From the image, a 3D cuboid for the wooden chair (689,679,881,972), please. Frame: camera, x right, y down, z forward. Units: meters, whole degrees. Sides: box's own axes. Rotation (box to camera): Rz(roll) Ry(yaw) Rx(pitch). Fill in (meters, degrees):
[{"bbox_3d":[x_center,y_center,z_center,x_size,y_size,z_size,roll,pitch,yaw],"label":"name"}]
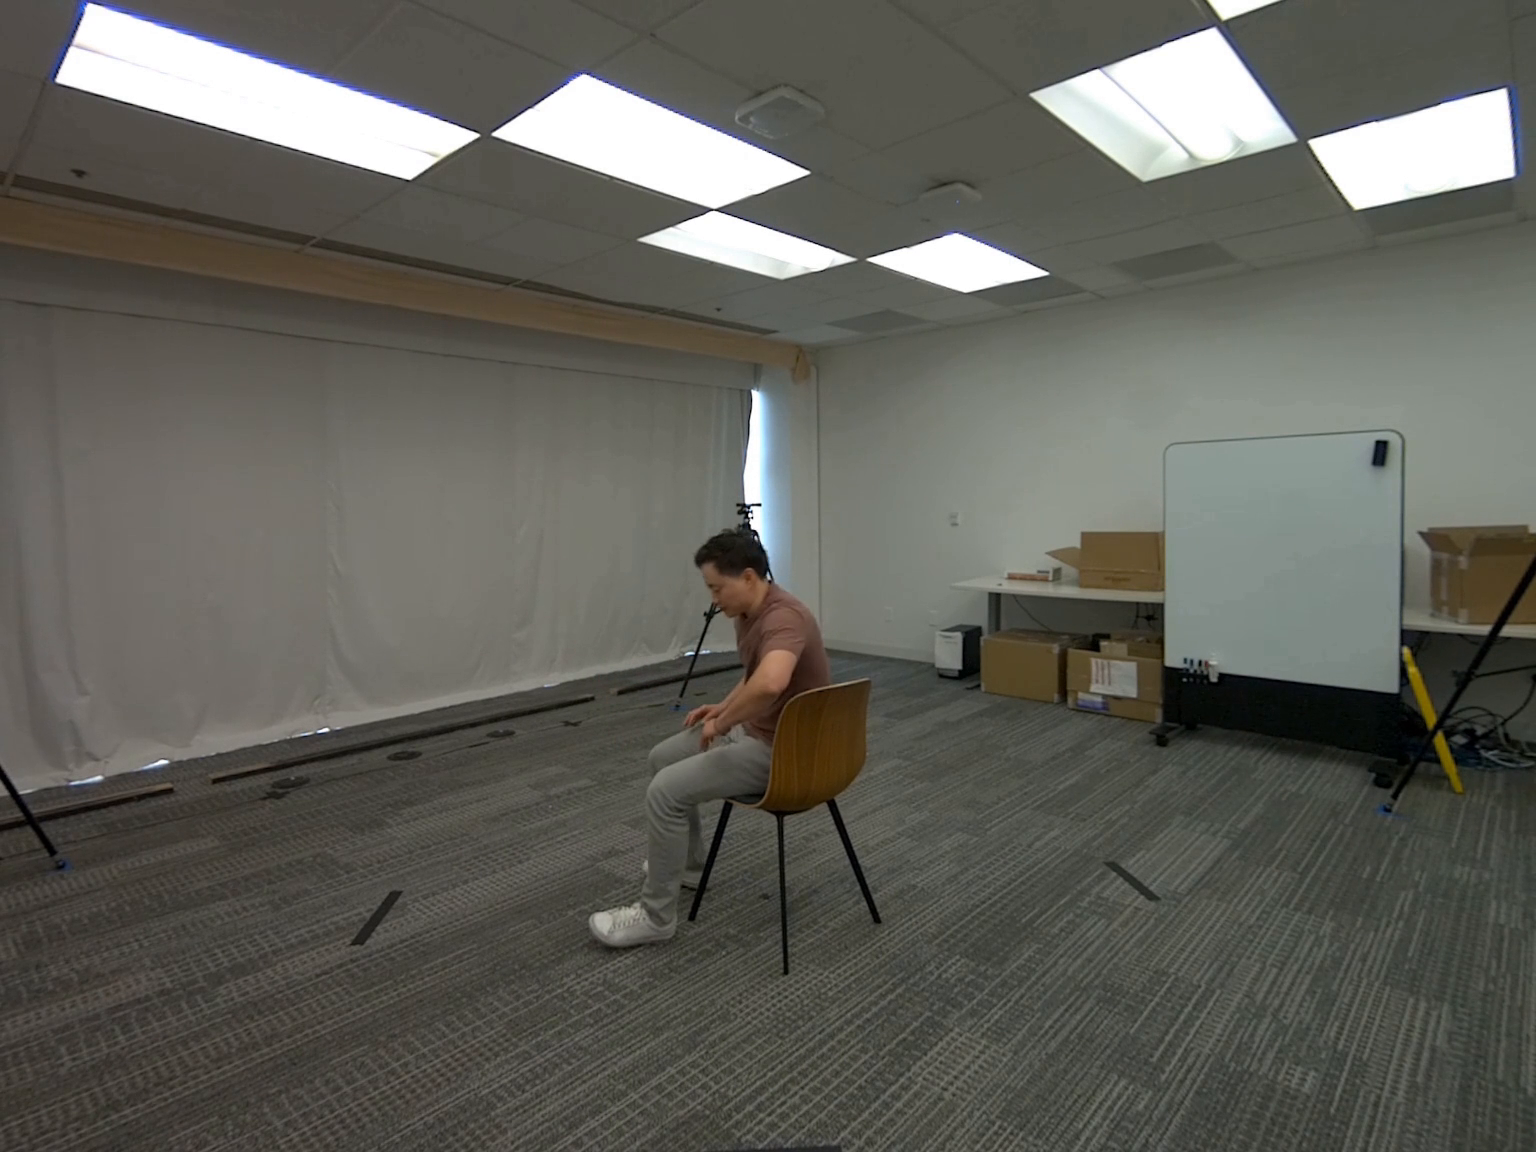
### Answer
[{"bbox_3d":[0.049,0.723,2.775,0.463,0.874,0.541,-4,9,-43],"label":"wooden chair"}]
